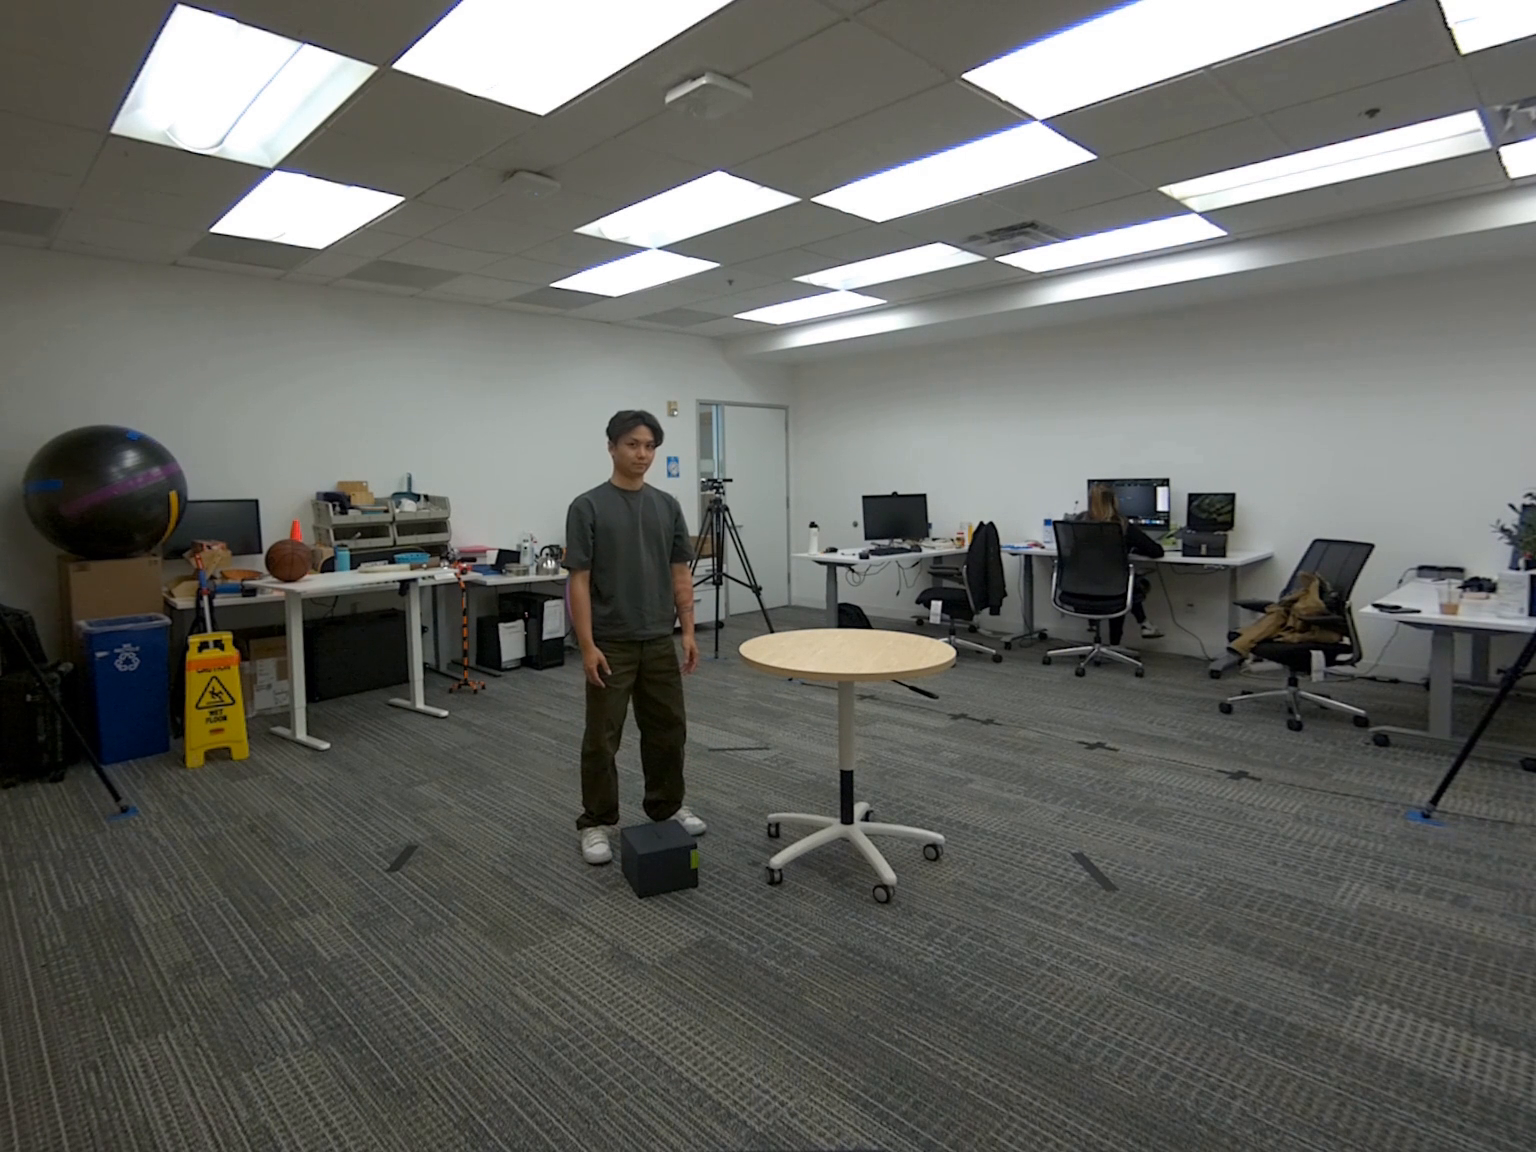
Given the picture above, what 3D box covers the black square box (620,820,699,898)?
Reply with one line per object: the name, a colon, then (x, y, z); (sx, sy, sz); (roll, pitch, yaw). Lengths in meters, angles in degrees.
black square box: (-0.379, 0.981, 2.989); (0.212, 0.155, 0.234); (-3, 7, -24)
